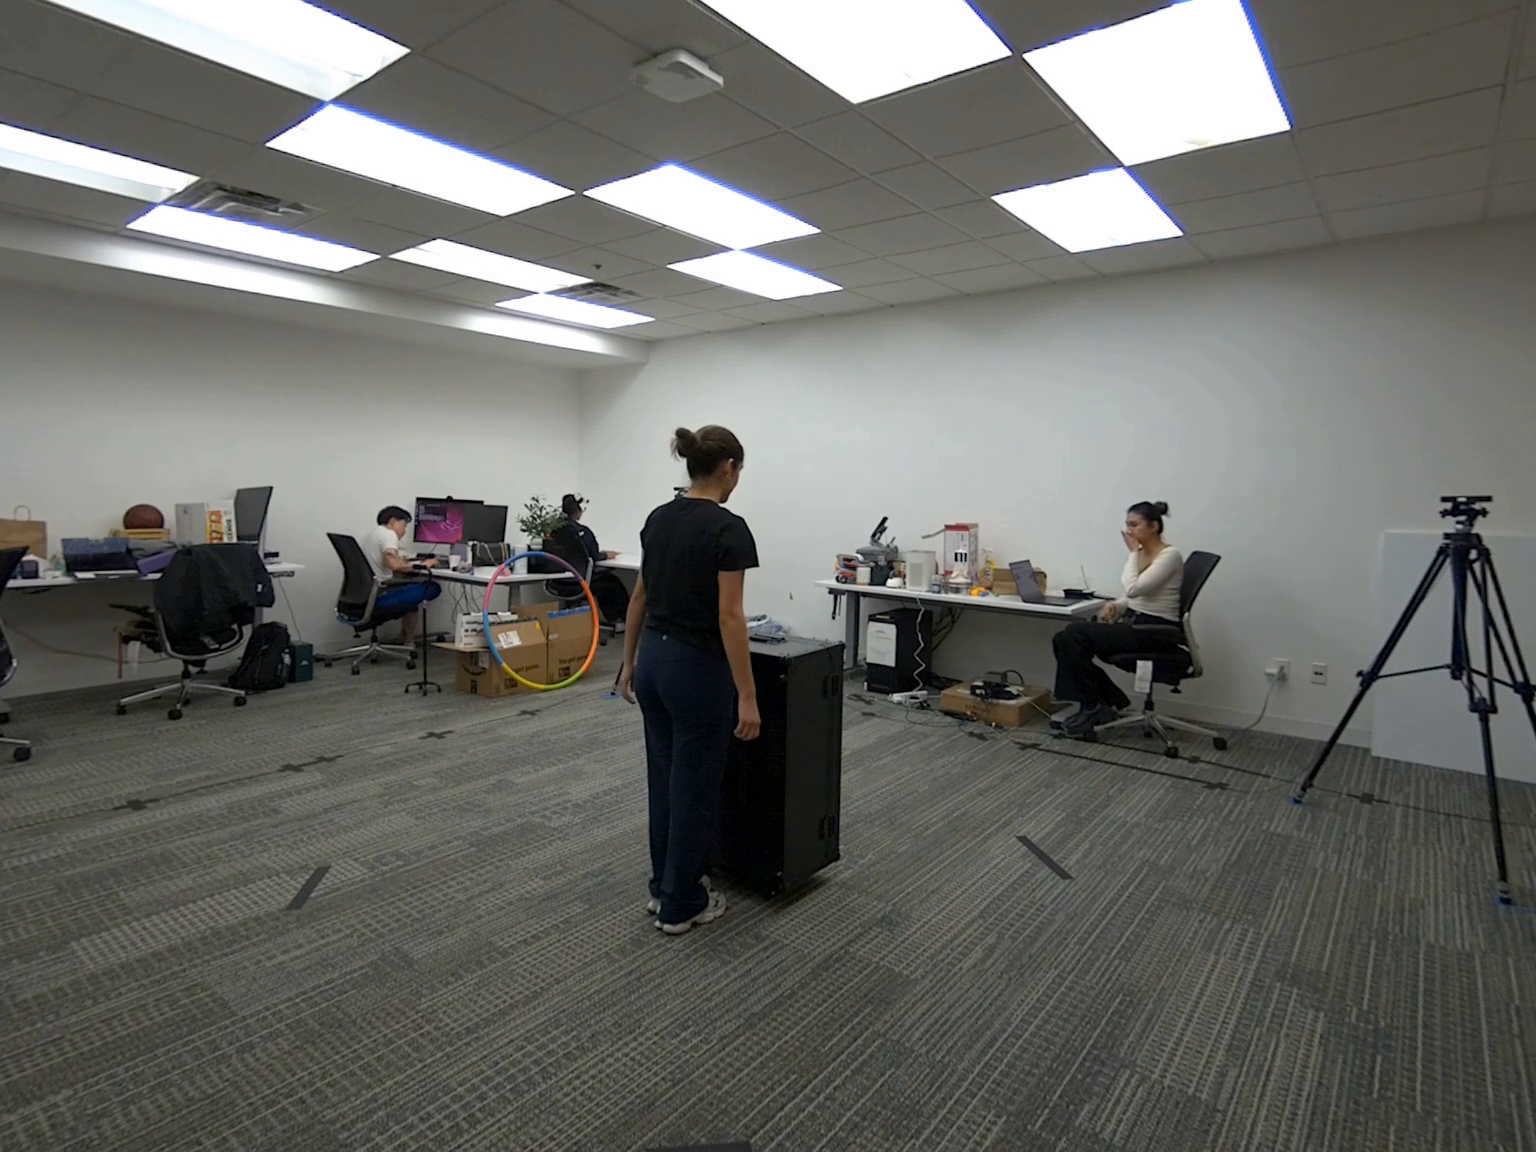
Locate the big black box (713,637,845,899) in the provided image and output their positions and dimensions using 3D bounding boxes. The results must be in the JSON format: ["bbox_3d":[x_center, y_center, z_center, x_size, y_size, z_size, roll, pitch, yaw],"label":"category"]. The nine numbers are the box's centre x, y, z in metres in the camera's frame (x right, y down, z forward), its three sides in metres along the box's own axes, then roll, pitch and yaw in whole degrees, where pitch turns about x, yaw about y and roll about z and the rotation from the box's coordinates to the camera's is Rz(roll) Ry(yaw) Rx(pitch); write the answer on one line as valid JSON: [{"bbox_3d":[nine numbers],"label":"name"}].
[{"bbox_3d":[-0.019,0.648,3.042,0.538,0.858,0.385,4,5,38],"label":"big black box"}]
